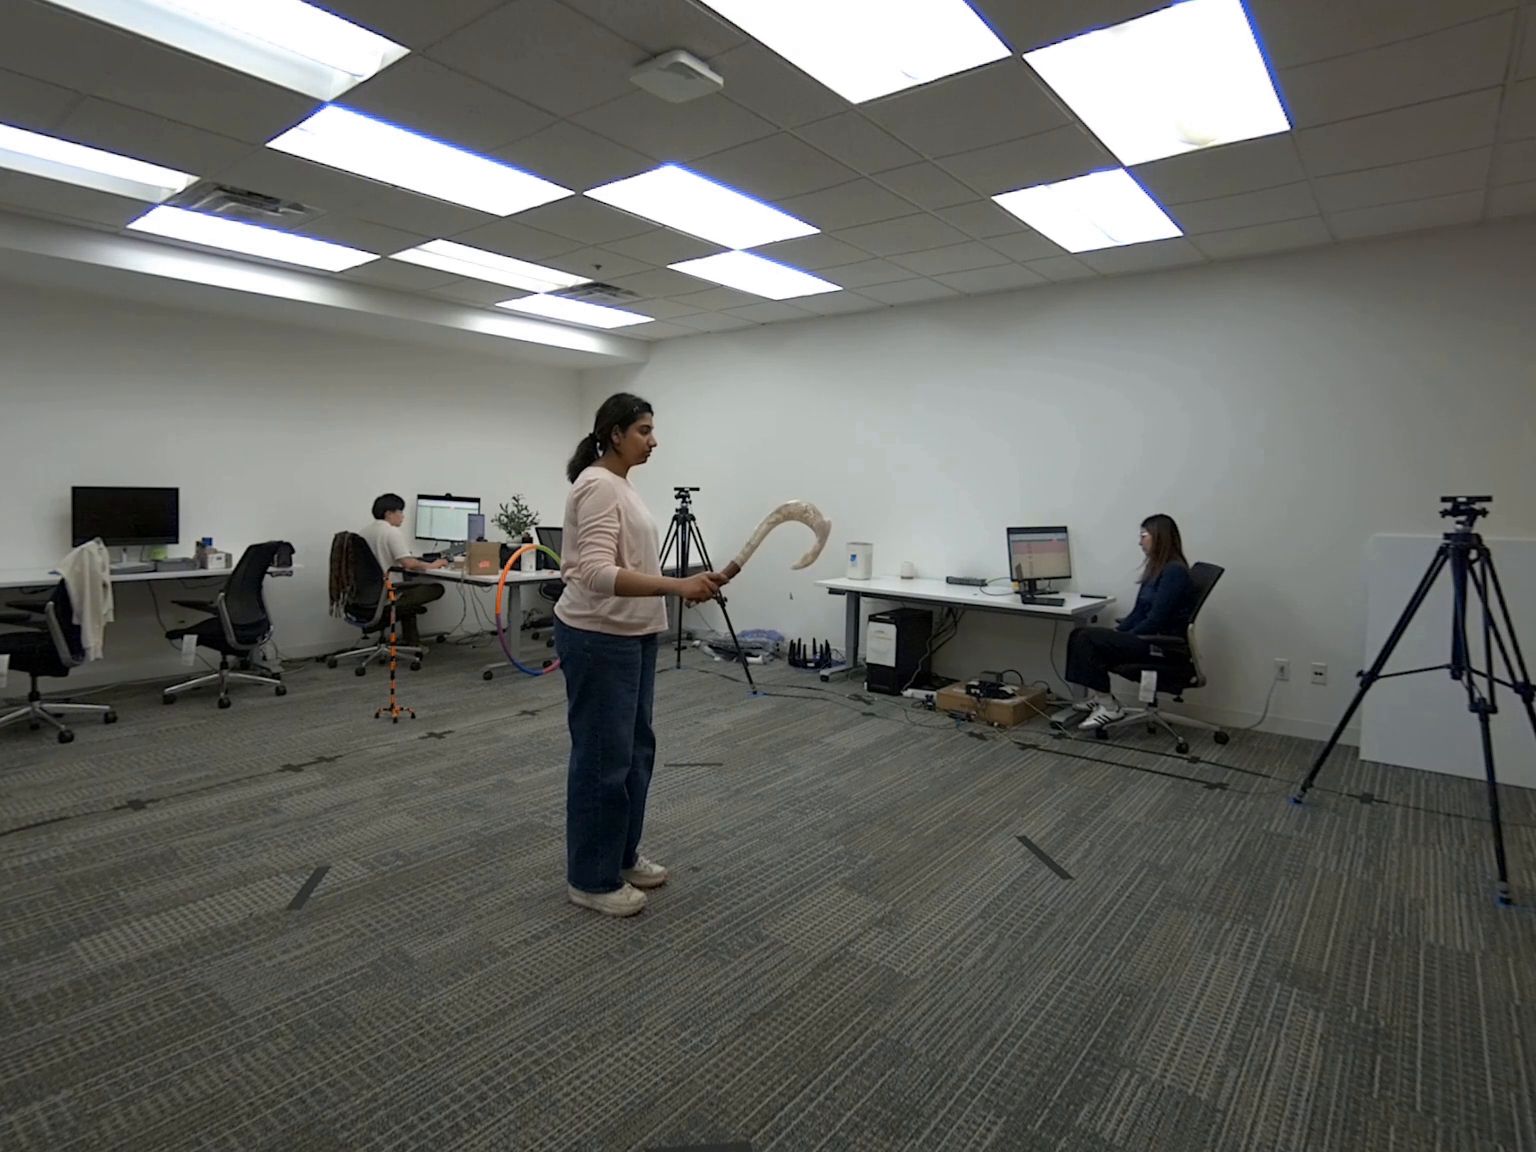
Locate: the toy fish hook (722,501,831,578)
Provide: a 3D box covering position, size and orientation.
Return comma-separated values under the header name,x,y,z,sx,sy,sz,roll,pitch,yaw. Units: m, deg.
name,x,y,z,sx,sy,sz,roll,pitch,yaw
toy fish hook,-0.029,-0.050,2.589,0.233,0.506,0.046,46,-8,31
